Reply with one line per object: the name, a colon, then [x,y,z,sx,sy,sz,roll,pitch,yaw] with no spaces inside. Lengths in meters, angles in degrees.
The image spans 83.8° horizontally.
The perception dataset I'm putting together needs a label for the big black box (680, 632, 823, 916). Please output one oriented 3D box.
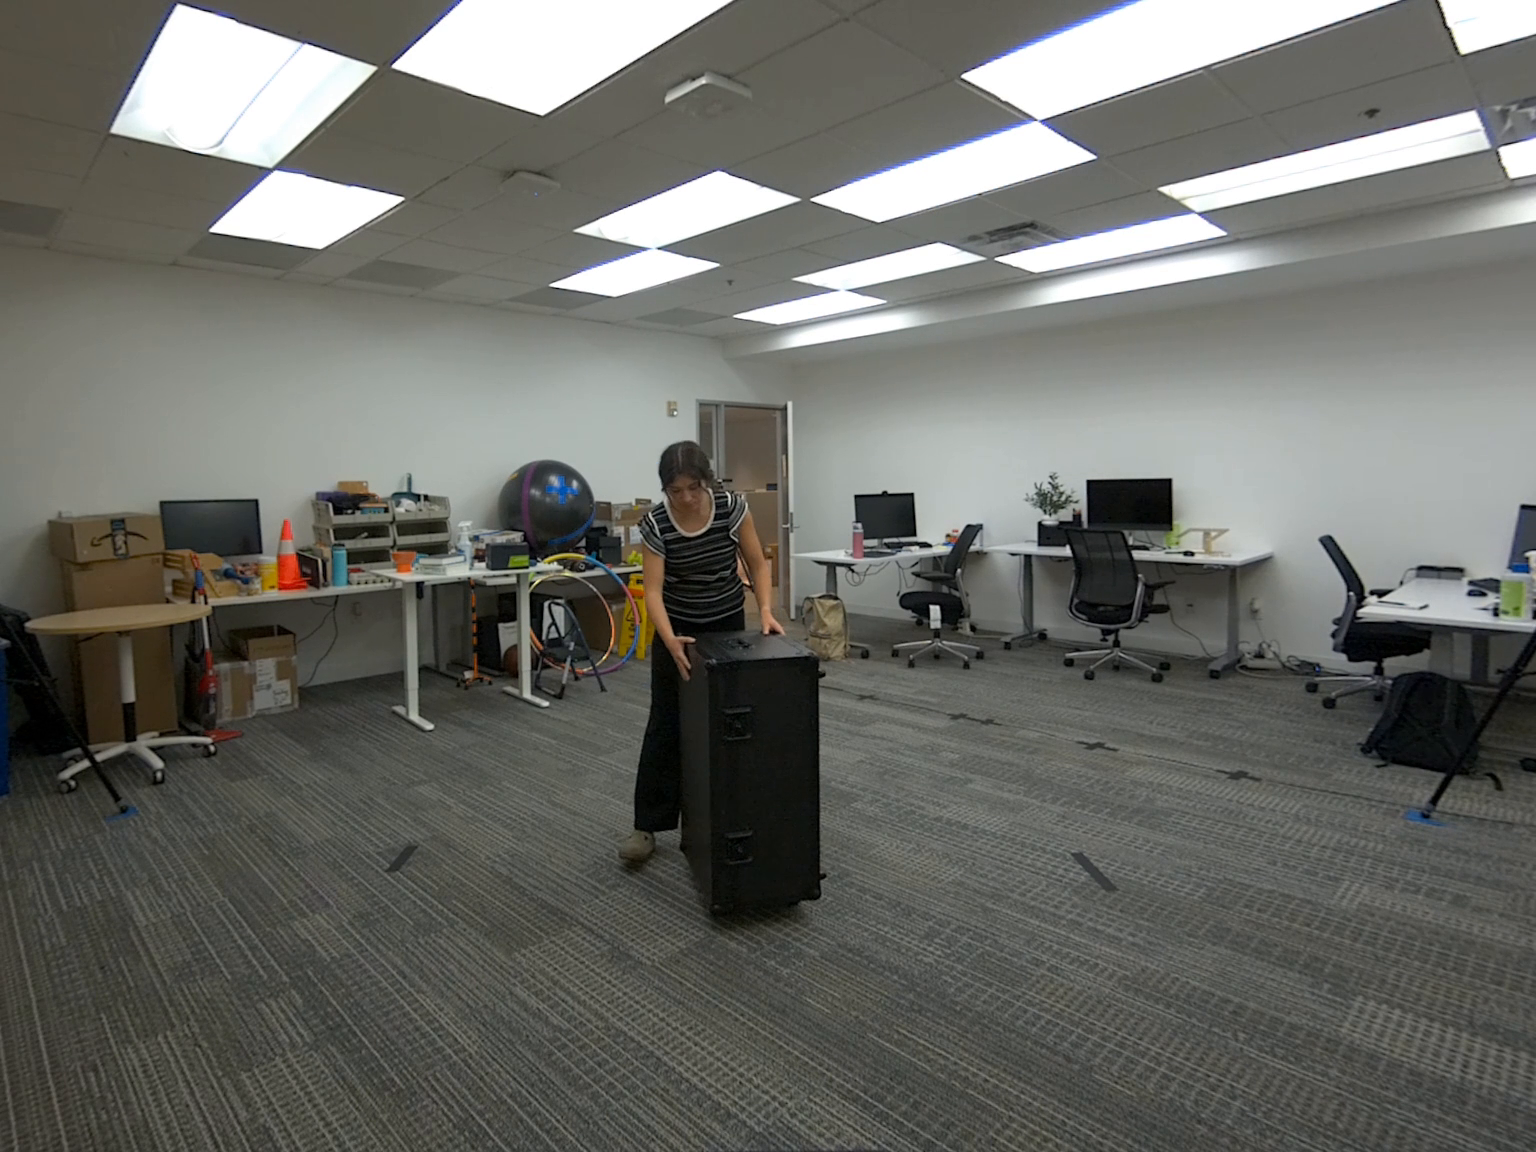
big black box: [-0.064,0.655,2.860,0.391,0.859,0.530,-2,4,-15]
